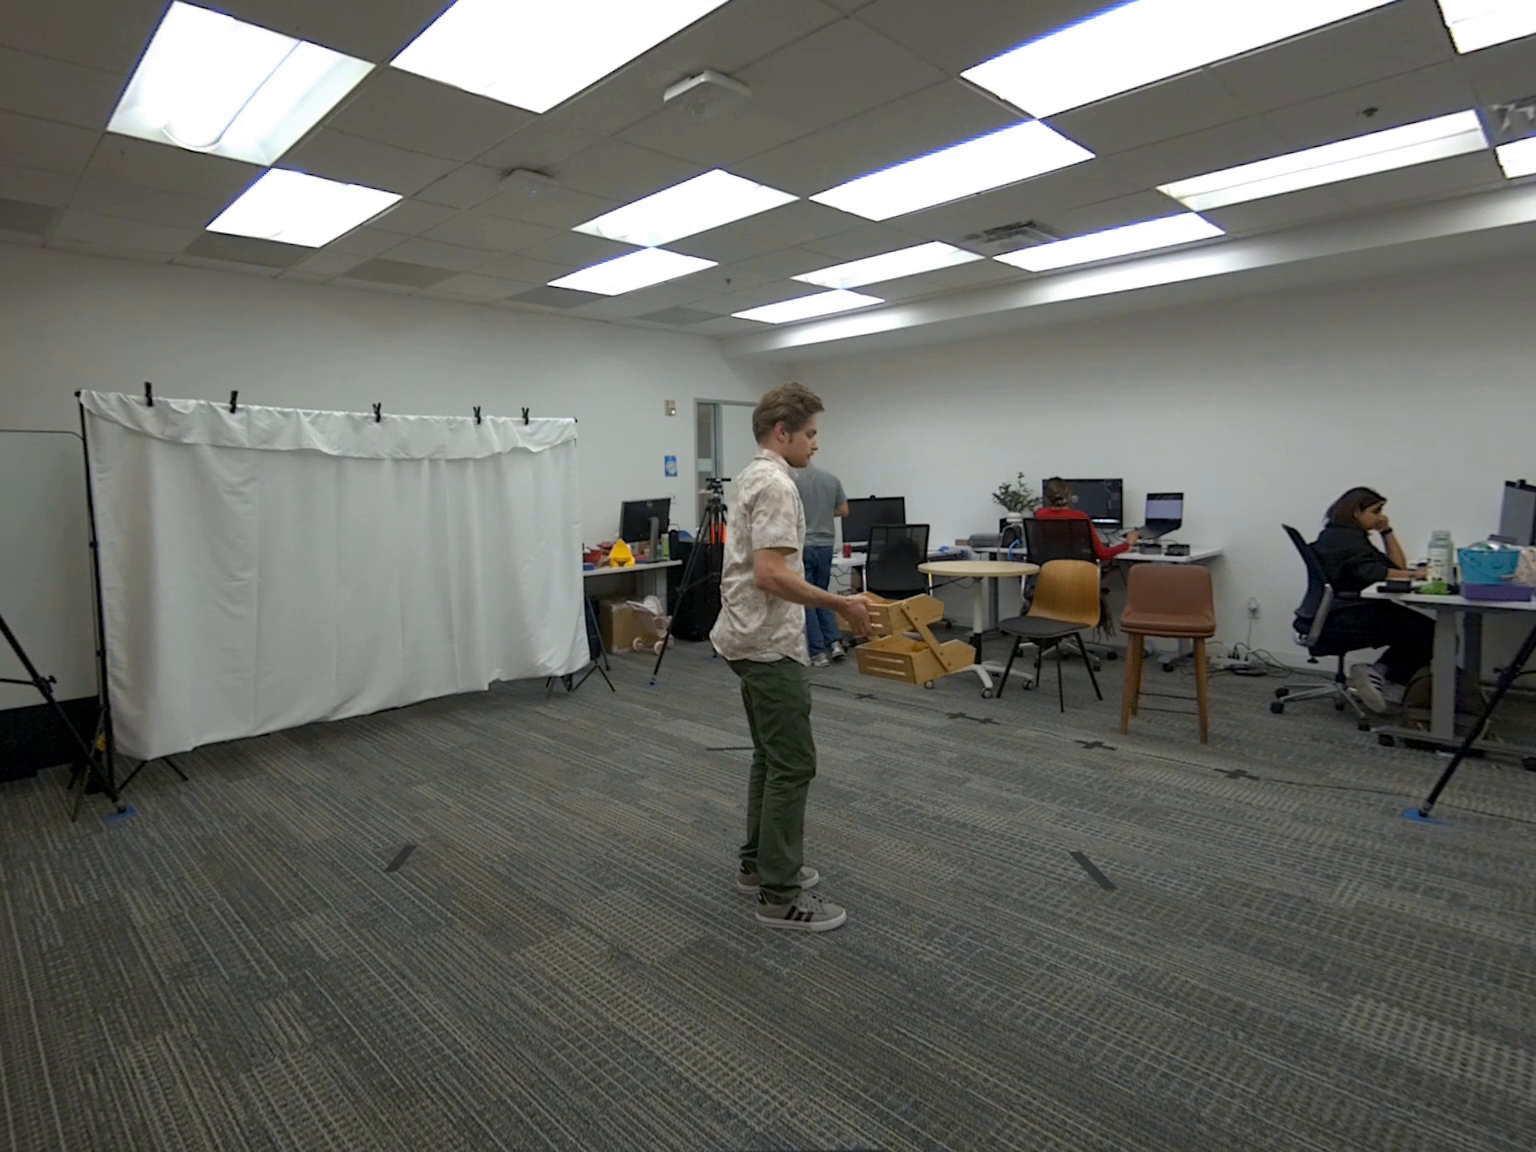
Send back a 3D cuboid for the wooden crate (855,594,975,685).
[{"bbox_3d":[0.439,0.178,2.761,0.297,0.272,0.331,-15,6,-26],"label":"wooden crate"}]
